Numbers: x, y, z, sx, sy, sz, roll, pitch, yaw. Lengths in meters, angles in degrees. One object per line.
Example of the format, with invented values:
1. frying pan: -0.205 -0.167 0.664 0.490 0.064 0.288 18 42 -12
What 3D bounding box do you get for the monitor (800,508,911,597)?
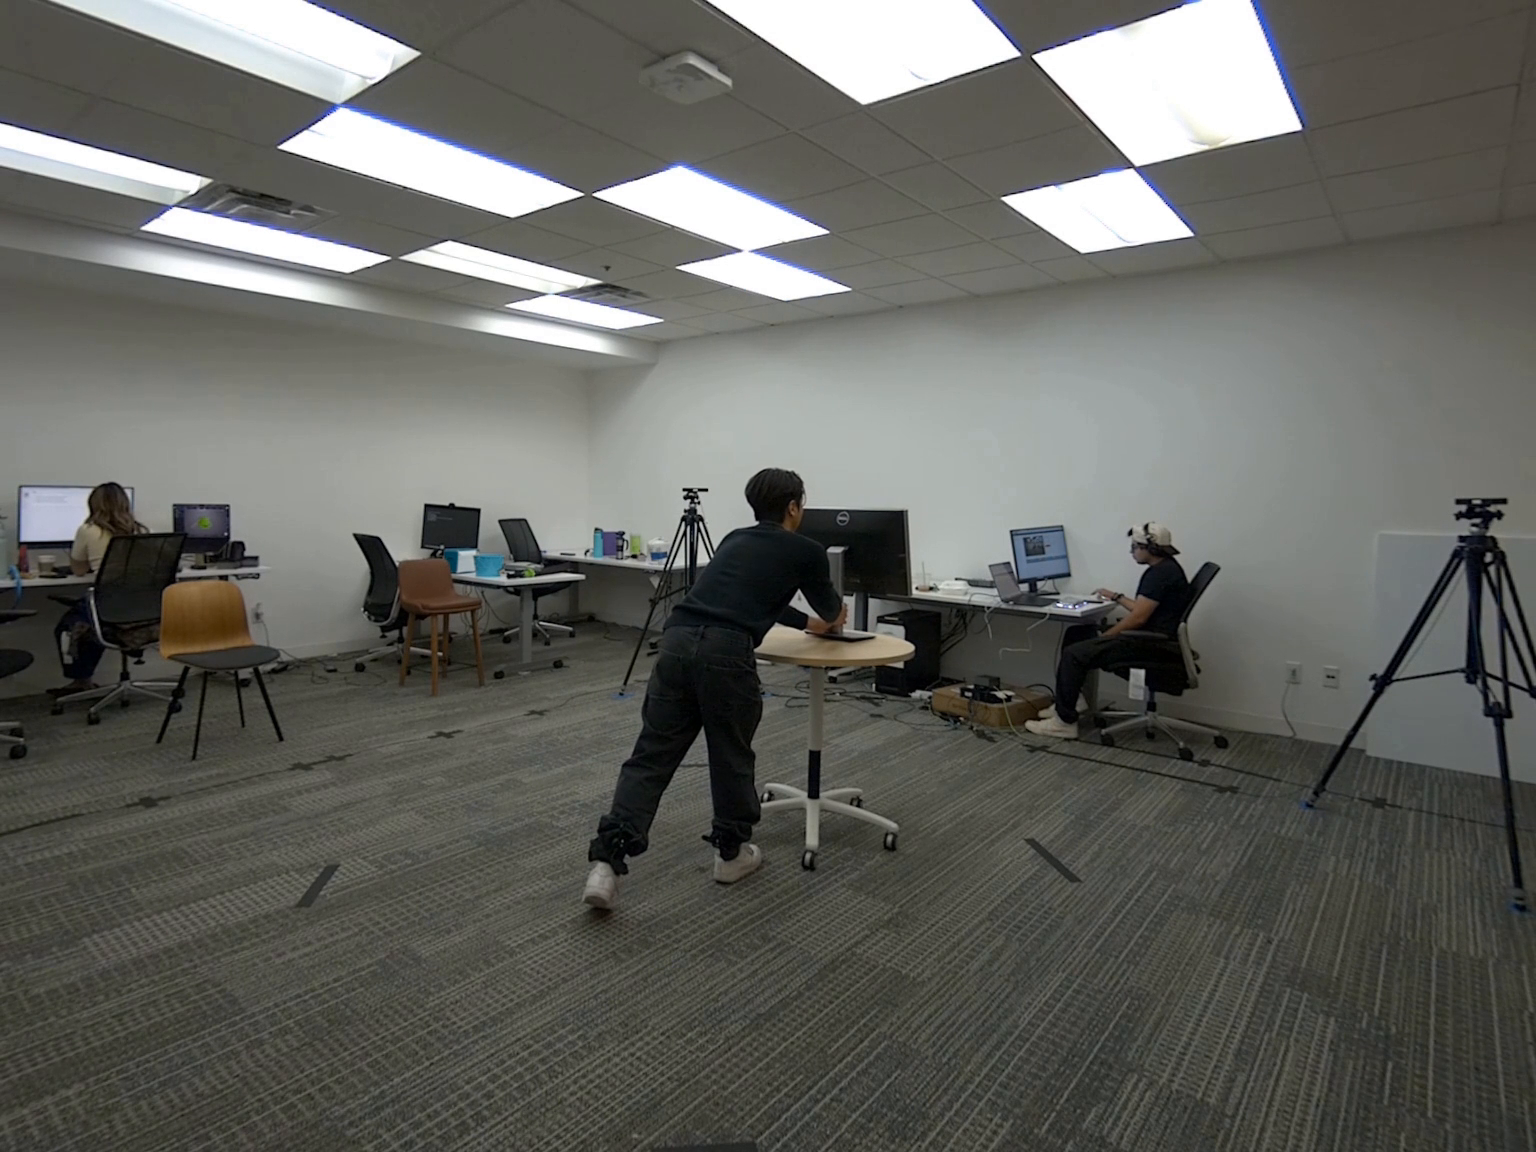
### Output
1. monitor: 0.310 -0.019 3.592 0.557 0.522 0.181 4 1 37
